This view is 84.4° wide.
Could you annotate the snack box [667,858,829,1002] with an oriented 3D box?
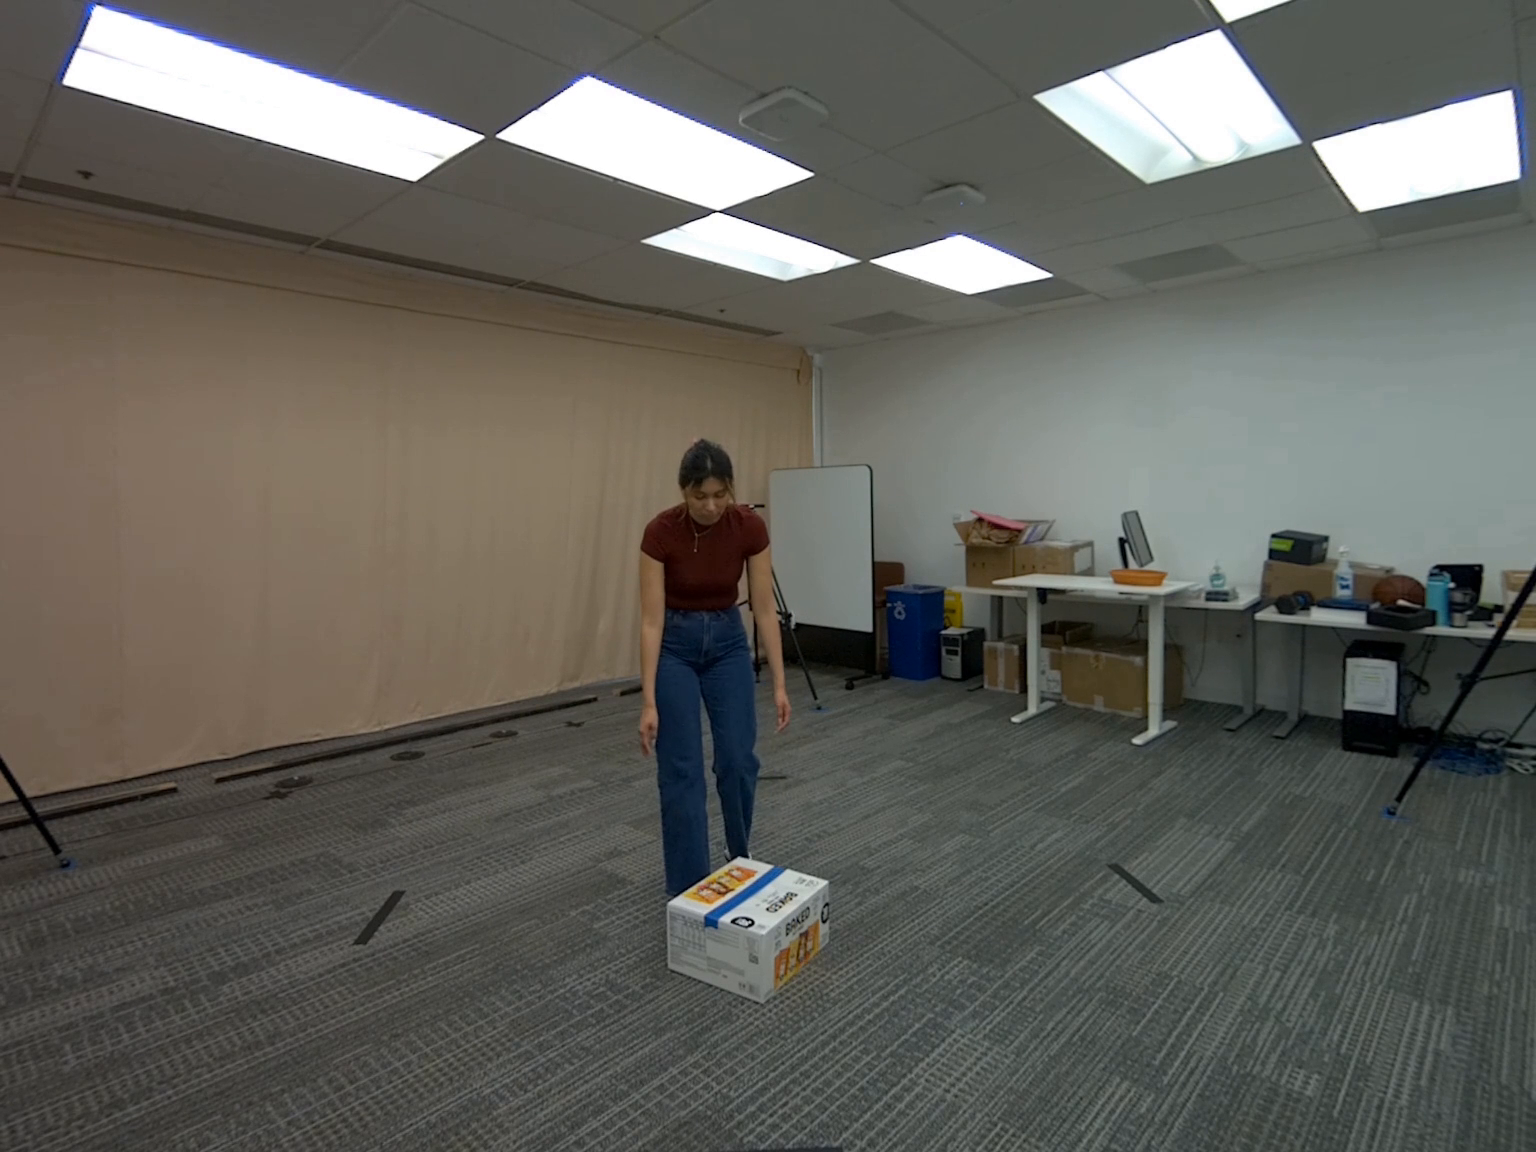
[{"bbox_3d":[-0.051,1.072,2.592,0.350,0.205,0.394,2,5,33],"label":"snack box"}]
